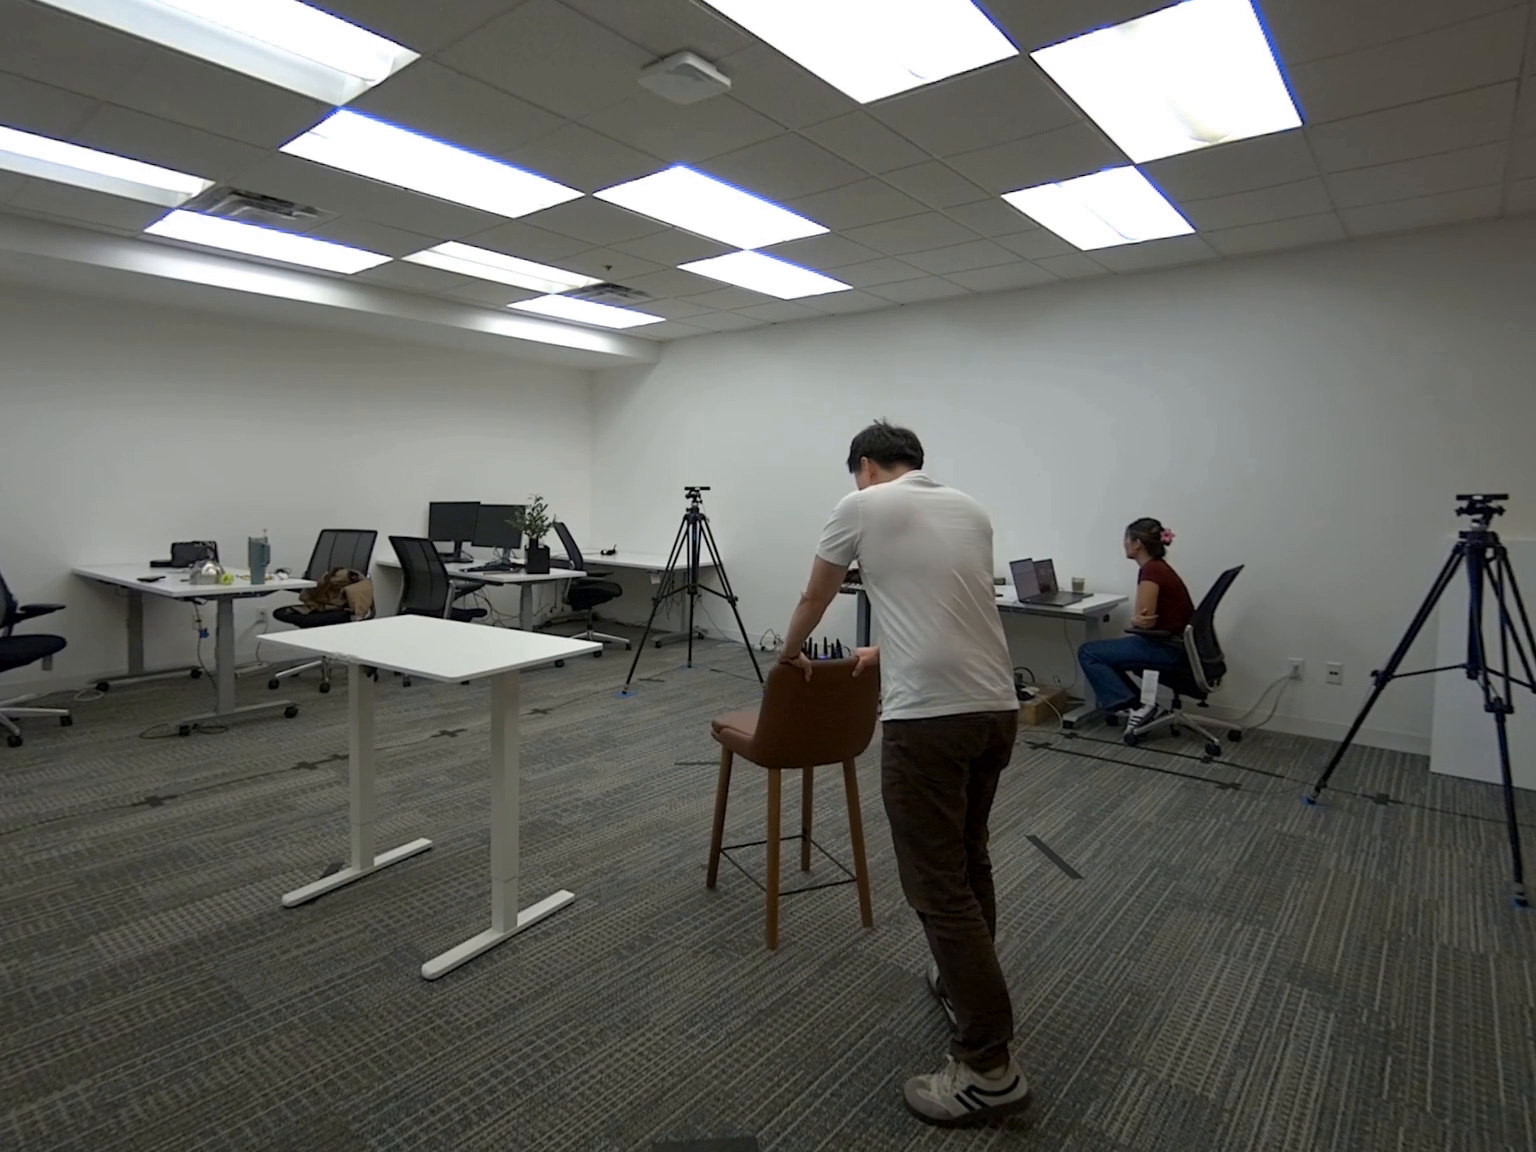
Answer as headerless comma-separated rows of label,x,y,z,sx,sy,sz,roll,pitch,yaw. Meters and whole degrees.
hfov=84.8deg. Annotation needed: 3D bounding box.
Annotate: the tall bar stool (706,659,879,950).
tall bar stool,0.071,0.666,2.806,0.445,0.886,0.481,-1,6,-27
